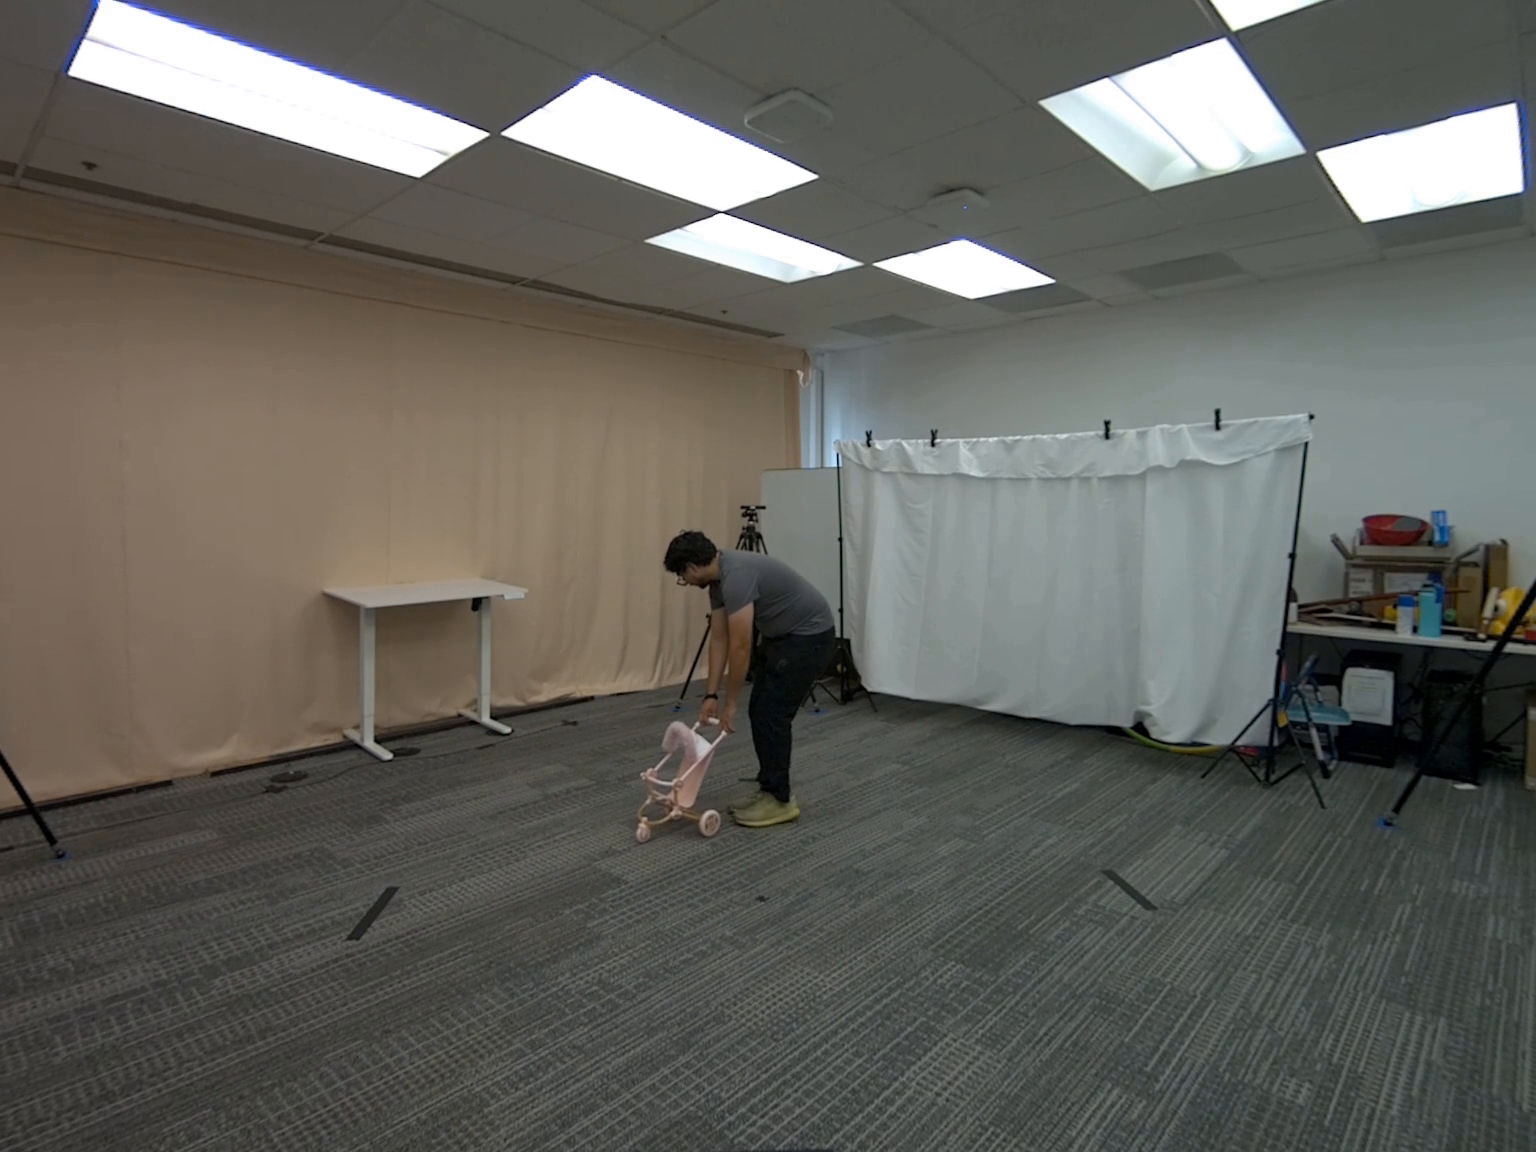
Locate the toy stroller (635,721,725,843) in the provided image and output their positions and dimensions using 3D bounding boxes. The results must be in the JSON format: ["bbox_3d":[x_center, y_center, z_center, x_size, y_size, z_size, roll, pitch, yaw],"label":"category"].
[{"bbox_3d":[-0.381,0.866,3.601,0.330,0.536,0.290,14,-6,-36],"label":"toy stroller"}]
